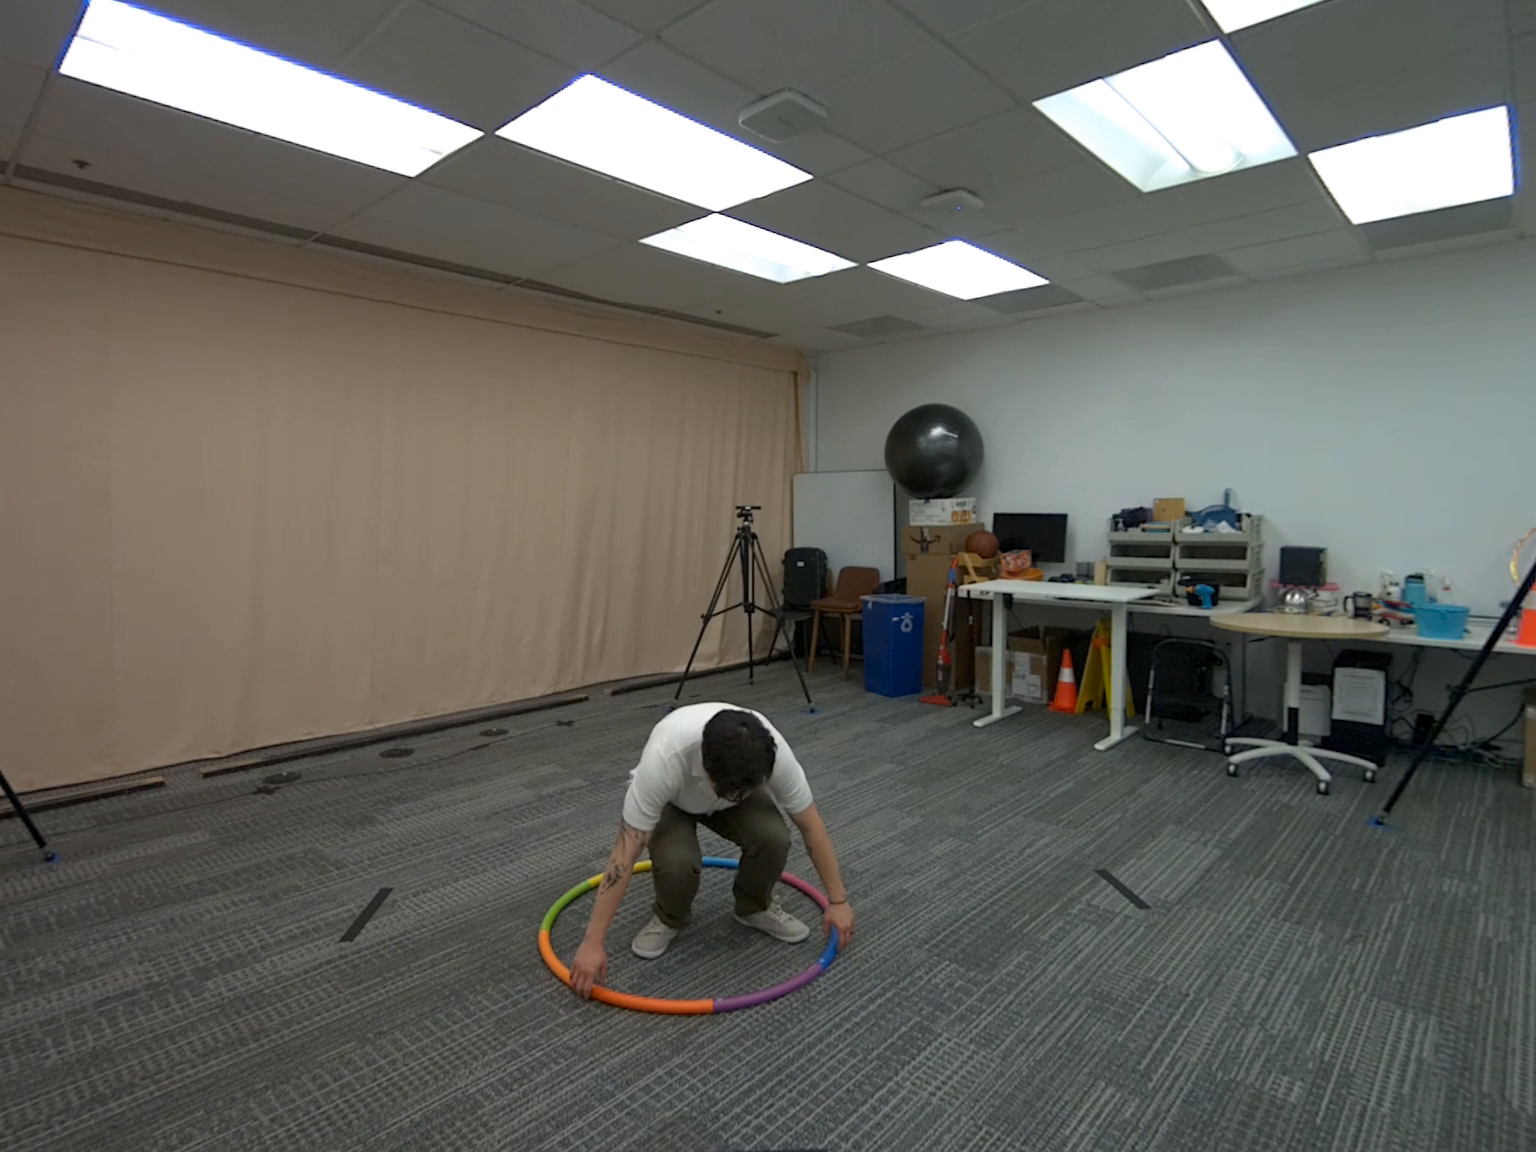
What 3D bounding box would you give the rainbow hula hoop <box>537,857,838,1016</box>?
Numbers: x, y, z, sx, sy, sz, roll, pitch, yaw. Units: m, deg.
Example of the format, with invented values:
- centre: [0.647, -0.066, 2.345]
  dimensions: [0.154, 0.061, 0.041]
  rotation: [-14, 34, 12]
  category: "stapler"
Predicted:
- centre: [-0.251, 1.131, 2.782]
  dimensions: [0.978, 0.035, 0.982]
  rotation: [-1, 5, -2]
  category: "rainbow hula hoop"
